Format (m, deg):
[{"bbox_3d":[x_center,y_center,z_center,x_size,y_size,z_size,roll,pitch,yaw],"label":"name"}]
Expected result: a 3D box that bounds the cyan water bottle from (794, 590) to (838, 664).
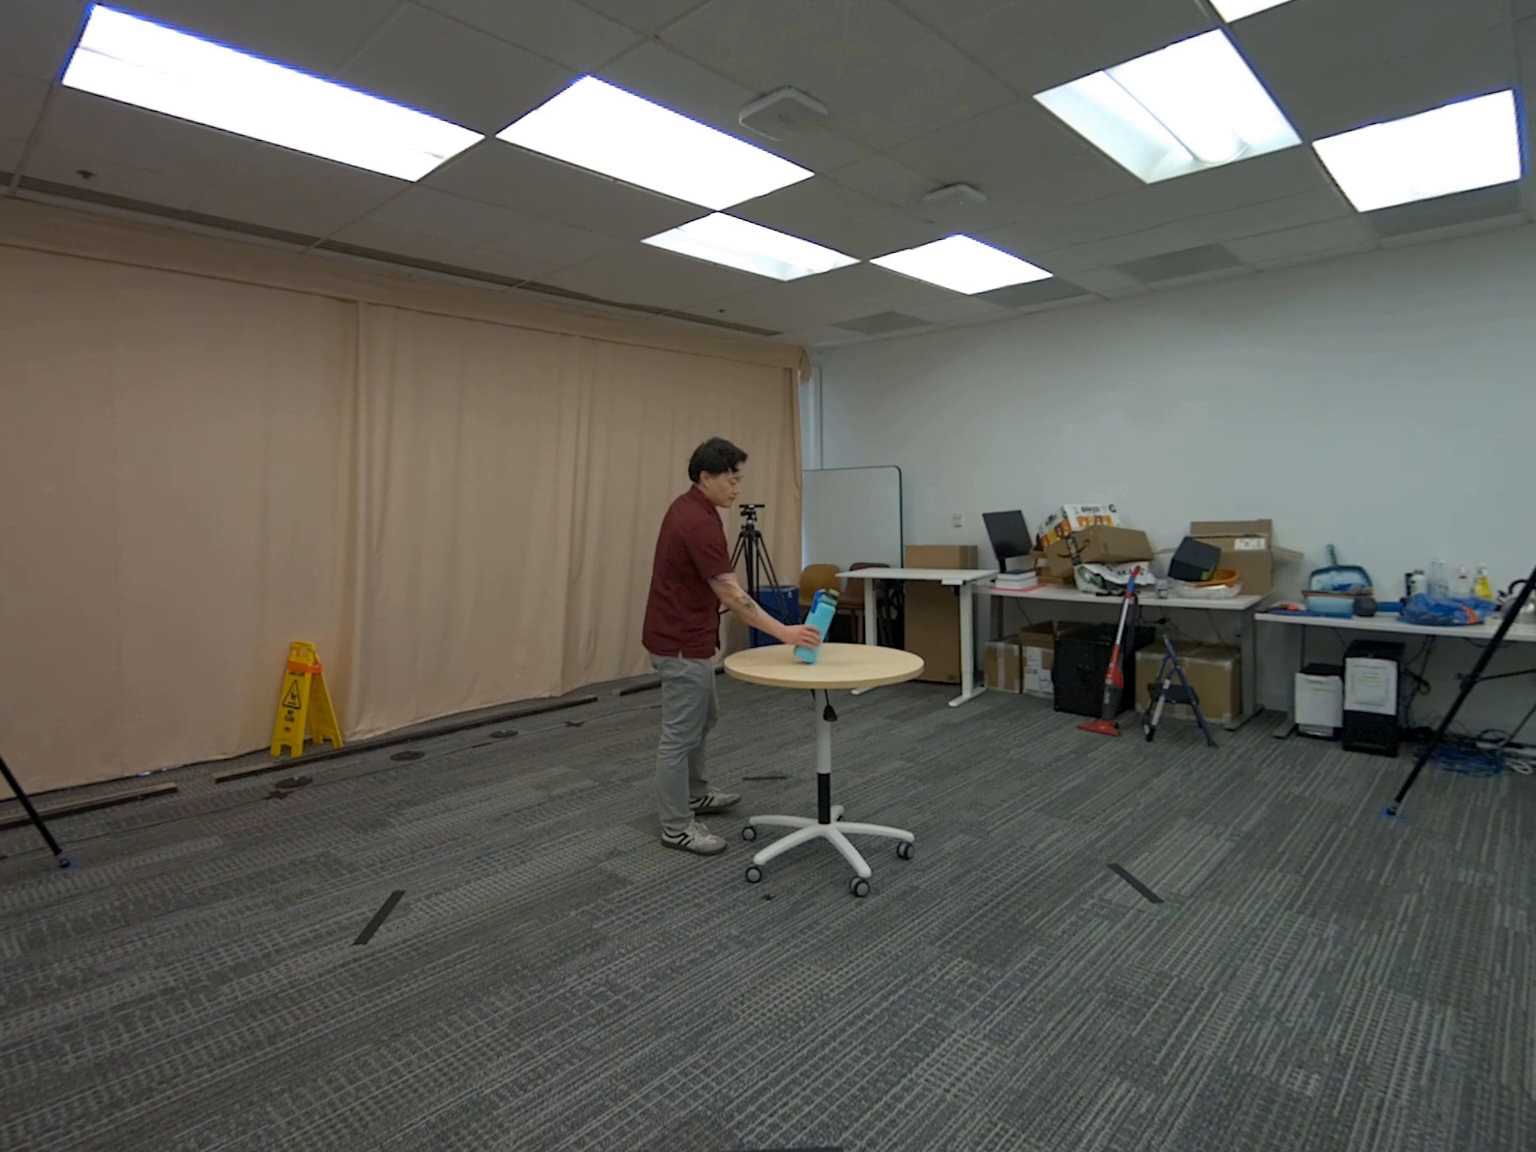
[{"bbox_3d":[0.181,0.181,3.213,0.092,0.283,0.092,18,2,-3],"label":"cyan water bottle"}]
